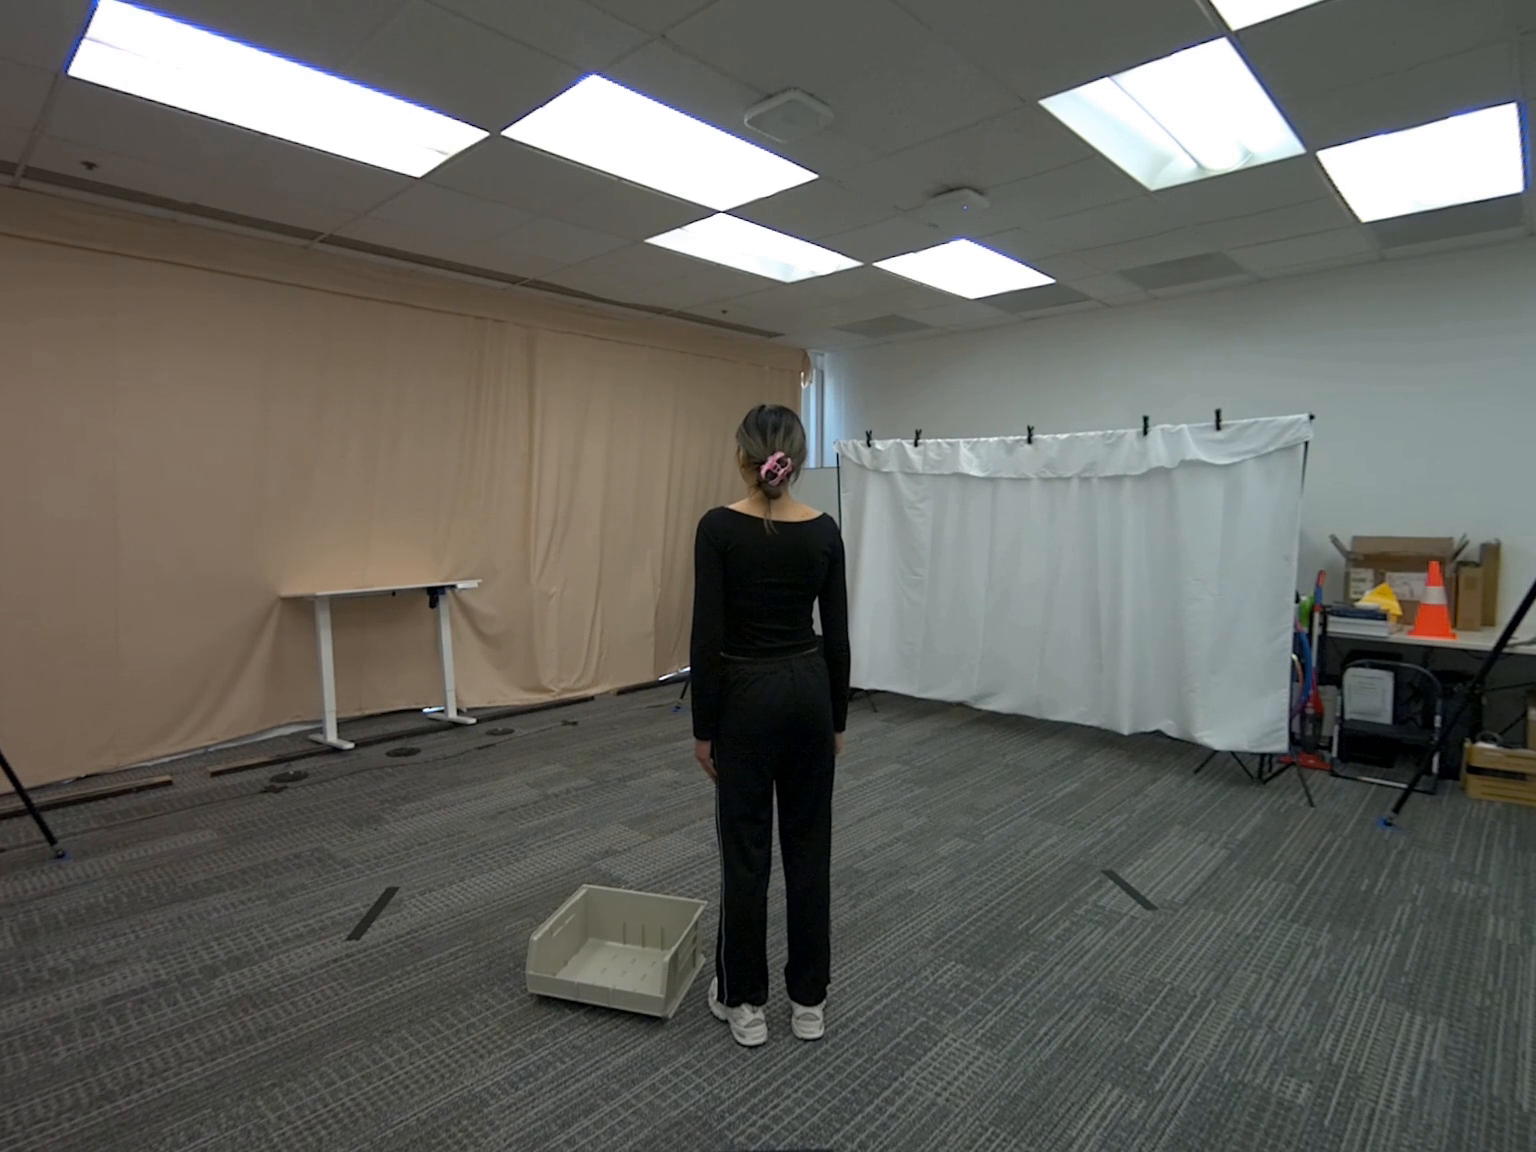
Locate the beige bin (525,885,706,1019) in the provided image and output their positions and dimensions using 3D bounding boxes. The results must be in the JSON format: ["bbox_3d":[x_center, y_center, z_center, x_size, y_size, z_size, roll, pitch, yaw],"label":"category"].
[{"bbox_3d":[-0.432,1.103,2.466,0.430,0.189,0.371,1,3,17],"label":"beige bin"}]
